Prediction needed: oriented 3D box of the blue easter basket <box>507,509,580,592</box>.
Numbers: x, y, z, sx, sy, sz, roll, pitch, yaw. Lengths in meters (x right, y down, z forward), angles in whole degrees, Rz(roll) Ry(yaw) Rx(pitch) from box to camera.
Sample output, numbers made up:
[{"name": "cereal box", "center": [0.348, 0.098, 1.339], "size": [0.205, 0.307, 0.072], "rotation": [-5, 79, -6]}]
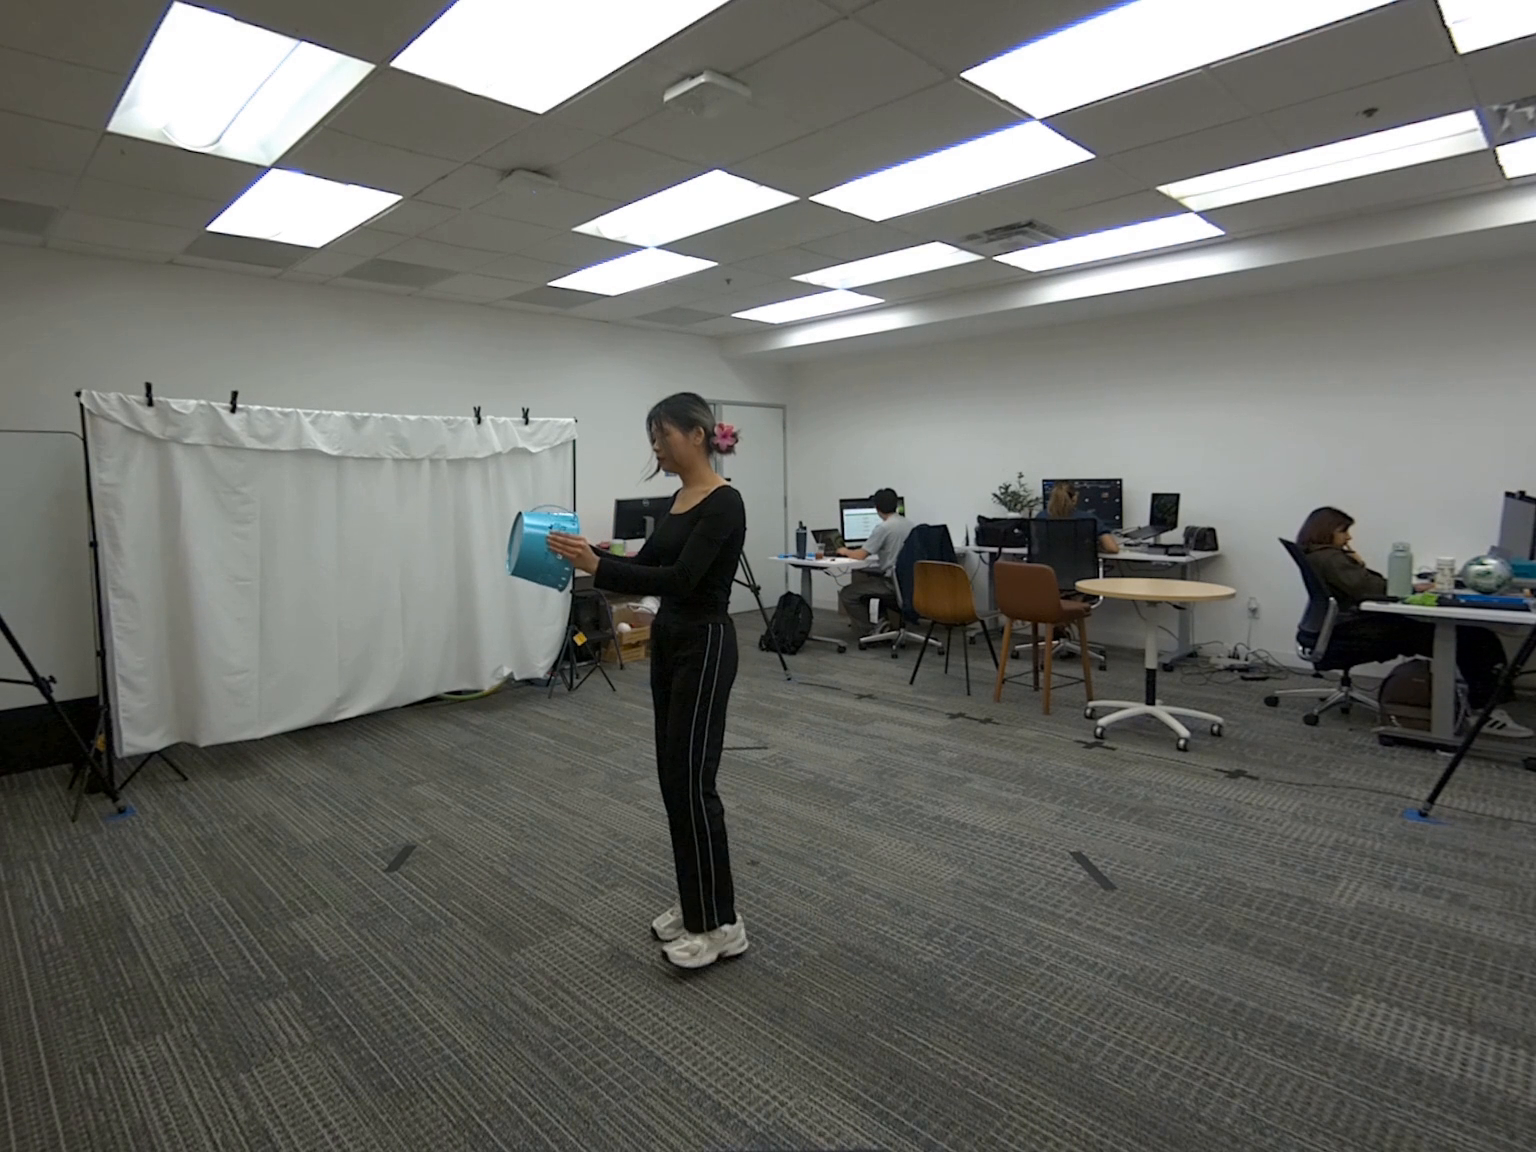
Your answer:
[{"name": "blue easter basket", "center": [-0.631, -0.083, 2.403], "size": [0.152, 0.244, 0.249], "rotation": [11, 0, -24]}]
